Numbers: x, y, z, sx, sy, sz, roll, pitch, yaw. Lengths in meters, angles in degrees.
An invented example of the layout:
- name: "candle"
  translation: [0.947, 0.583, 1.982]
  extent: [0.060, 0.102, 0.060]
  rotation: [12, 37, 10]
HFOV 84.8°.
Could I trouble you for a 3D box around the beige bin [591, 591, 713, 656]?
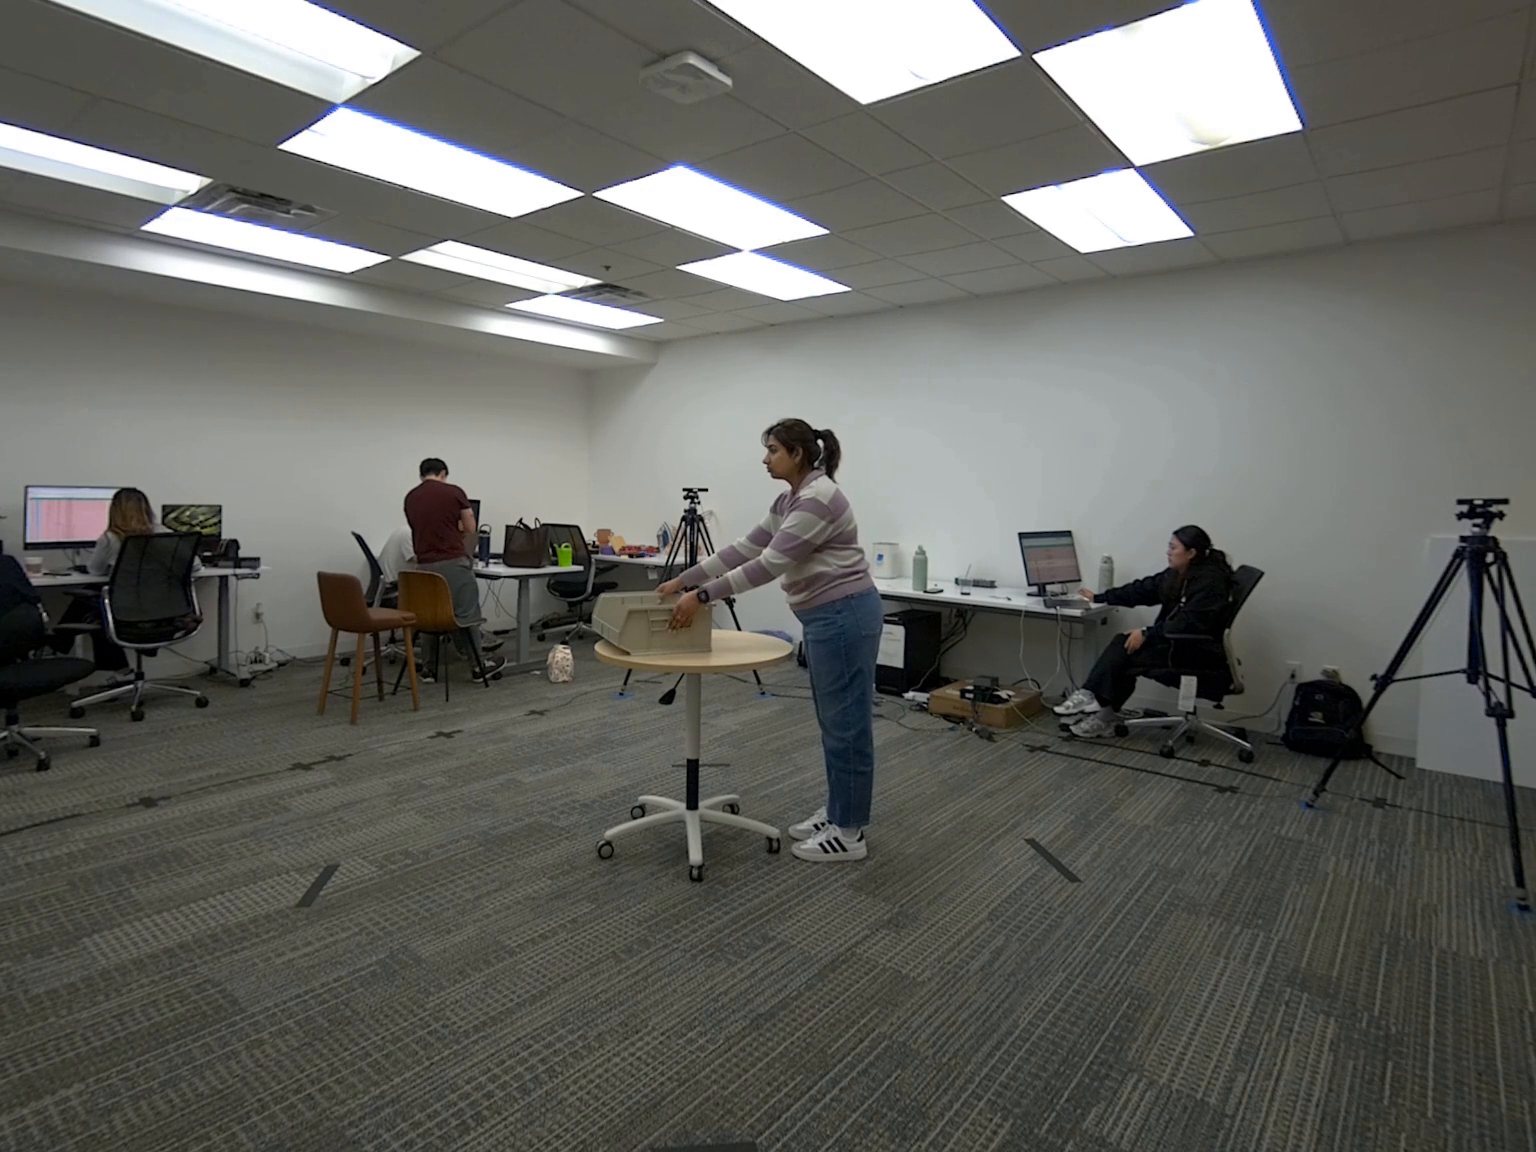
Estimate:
- name: "beige bin"
  translation: [-0.463, 0.175, 3.303]
  extent: [0.369, 0.188, 0.433]
  rotation: [0, 4, -22]
